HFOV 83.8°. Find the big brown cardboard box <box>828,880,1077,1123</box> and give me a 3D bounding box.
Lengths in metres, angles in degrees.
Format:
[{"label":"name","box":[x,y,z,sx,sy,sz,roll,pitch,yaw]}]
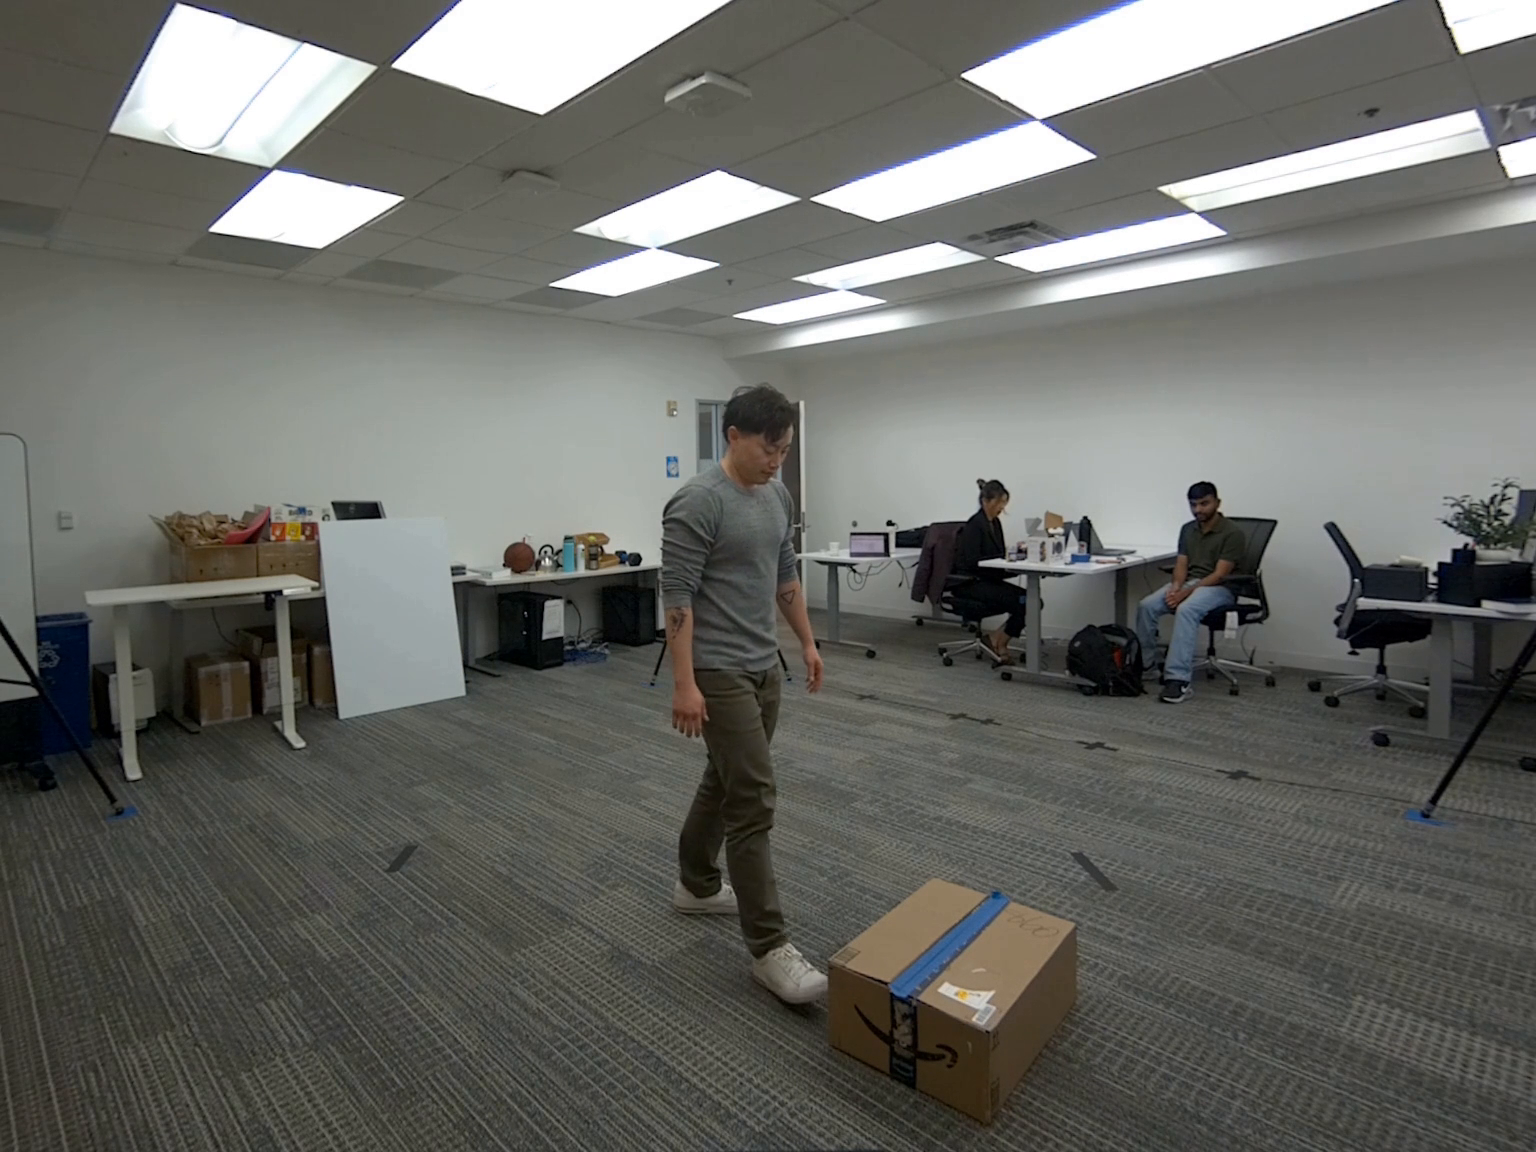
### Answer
[{"label":"big brown cardboard box","box":[0.482,1.035,2.168,0.430,0.232,0.574,4,7,39]}]
